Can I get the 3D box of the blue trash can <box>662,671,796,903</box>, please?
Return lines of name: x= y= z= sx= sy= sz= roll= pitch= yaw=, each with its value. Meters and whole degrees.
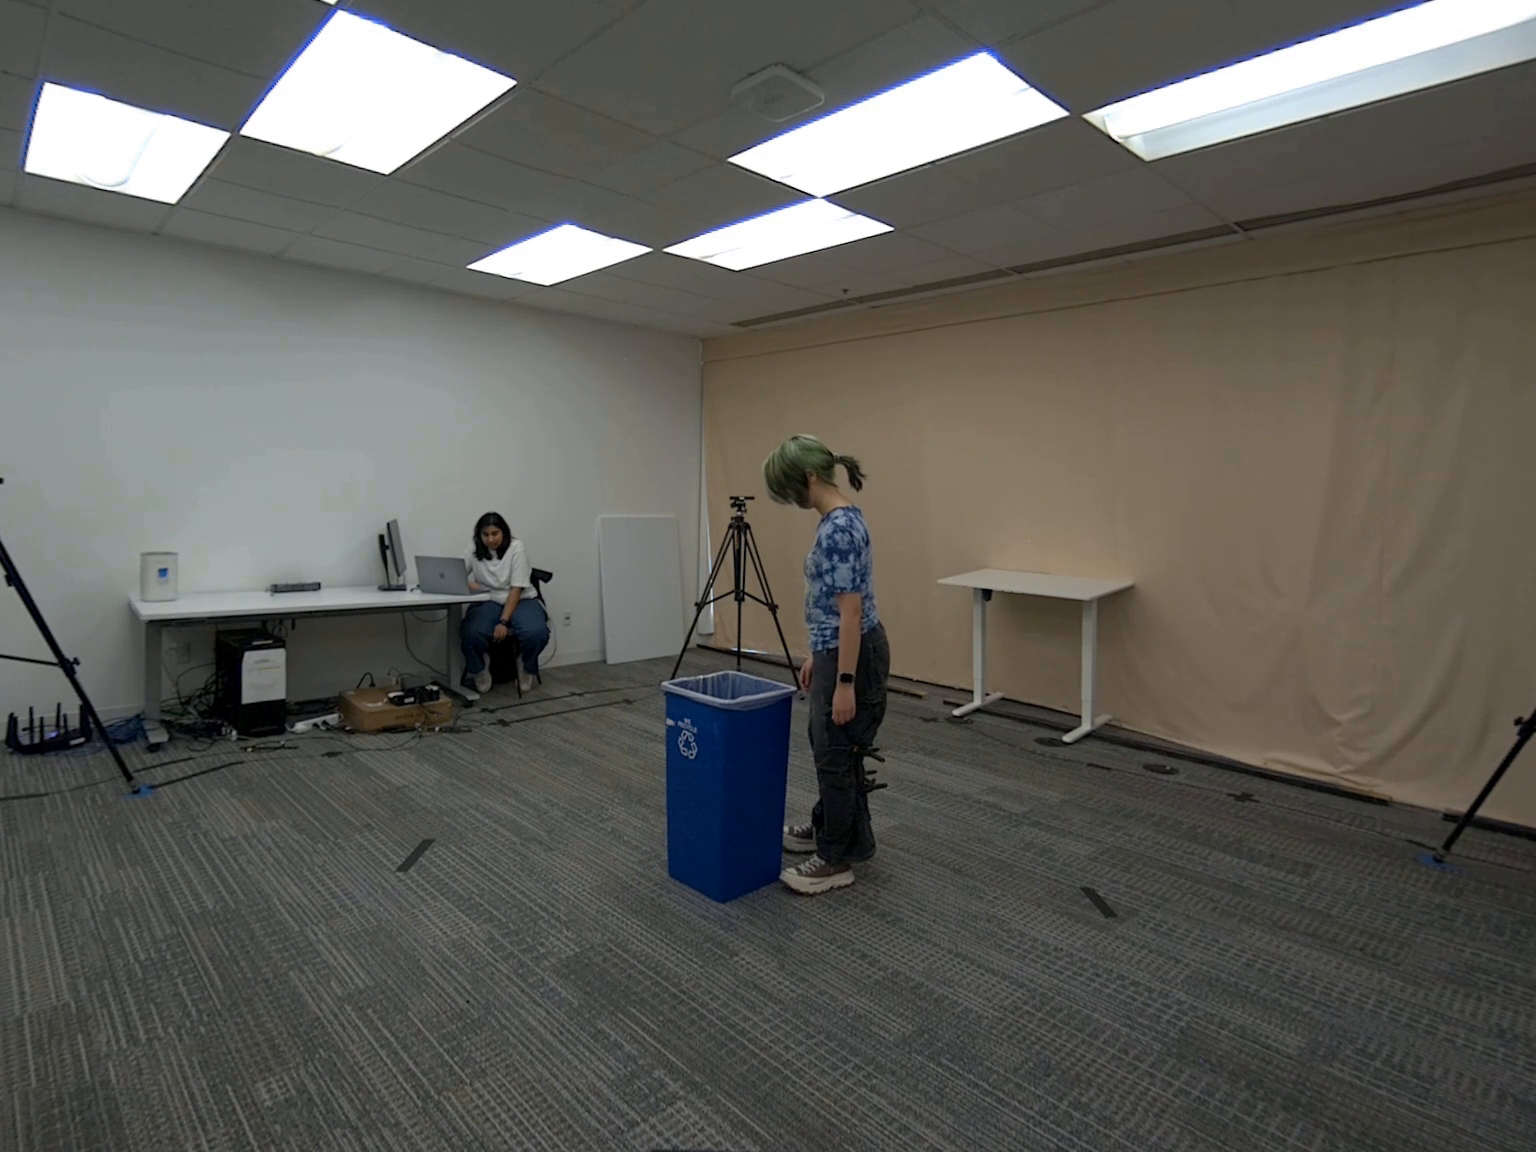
blue trash can: x=-0.151 y=0.749 z=3.063 sx=0.369 sy=0.711 sz=0.383 roll=-3 pitch=5 yaw=-44
